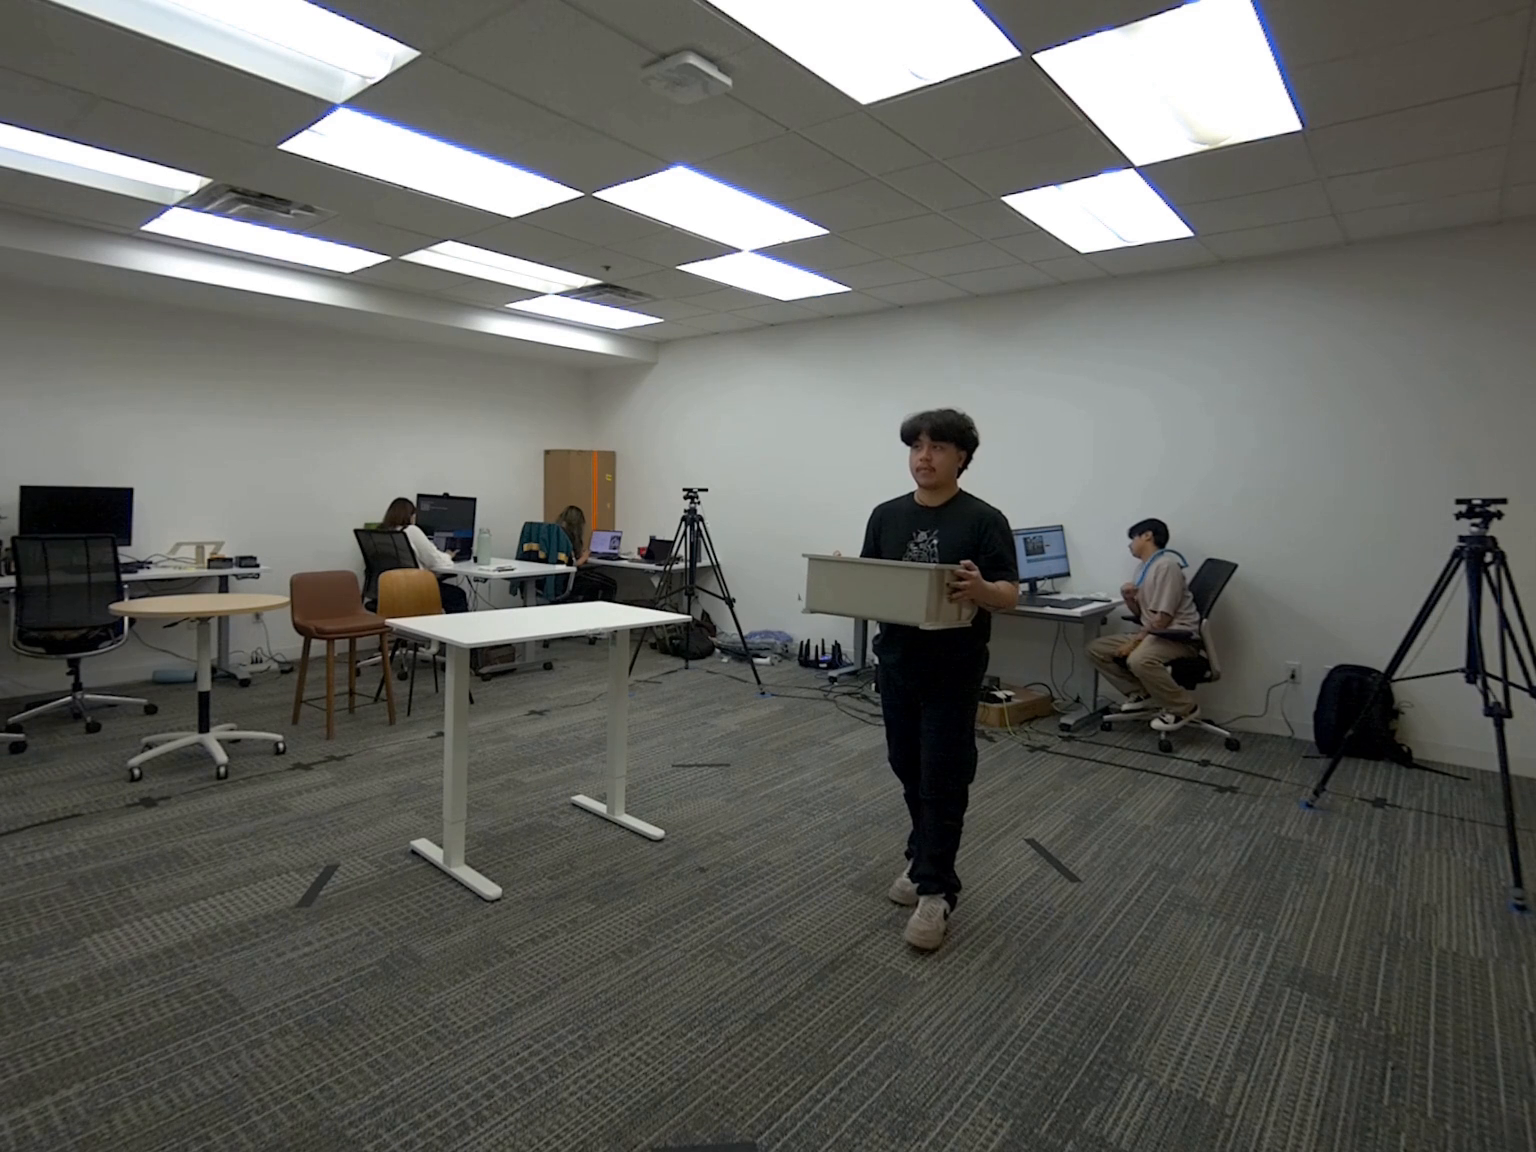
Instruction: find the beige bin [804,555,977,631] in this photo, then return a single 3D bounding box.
[{"bbox_3d":[0.368,0.037,2.564,0.436,0.189,0.366,7,4,34],"label":"beige bin"}]
